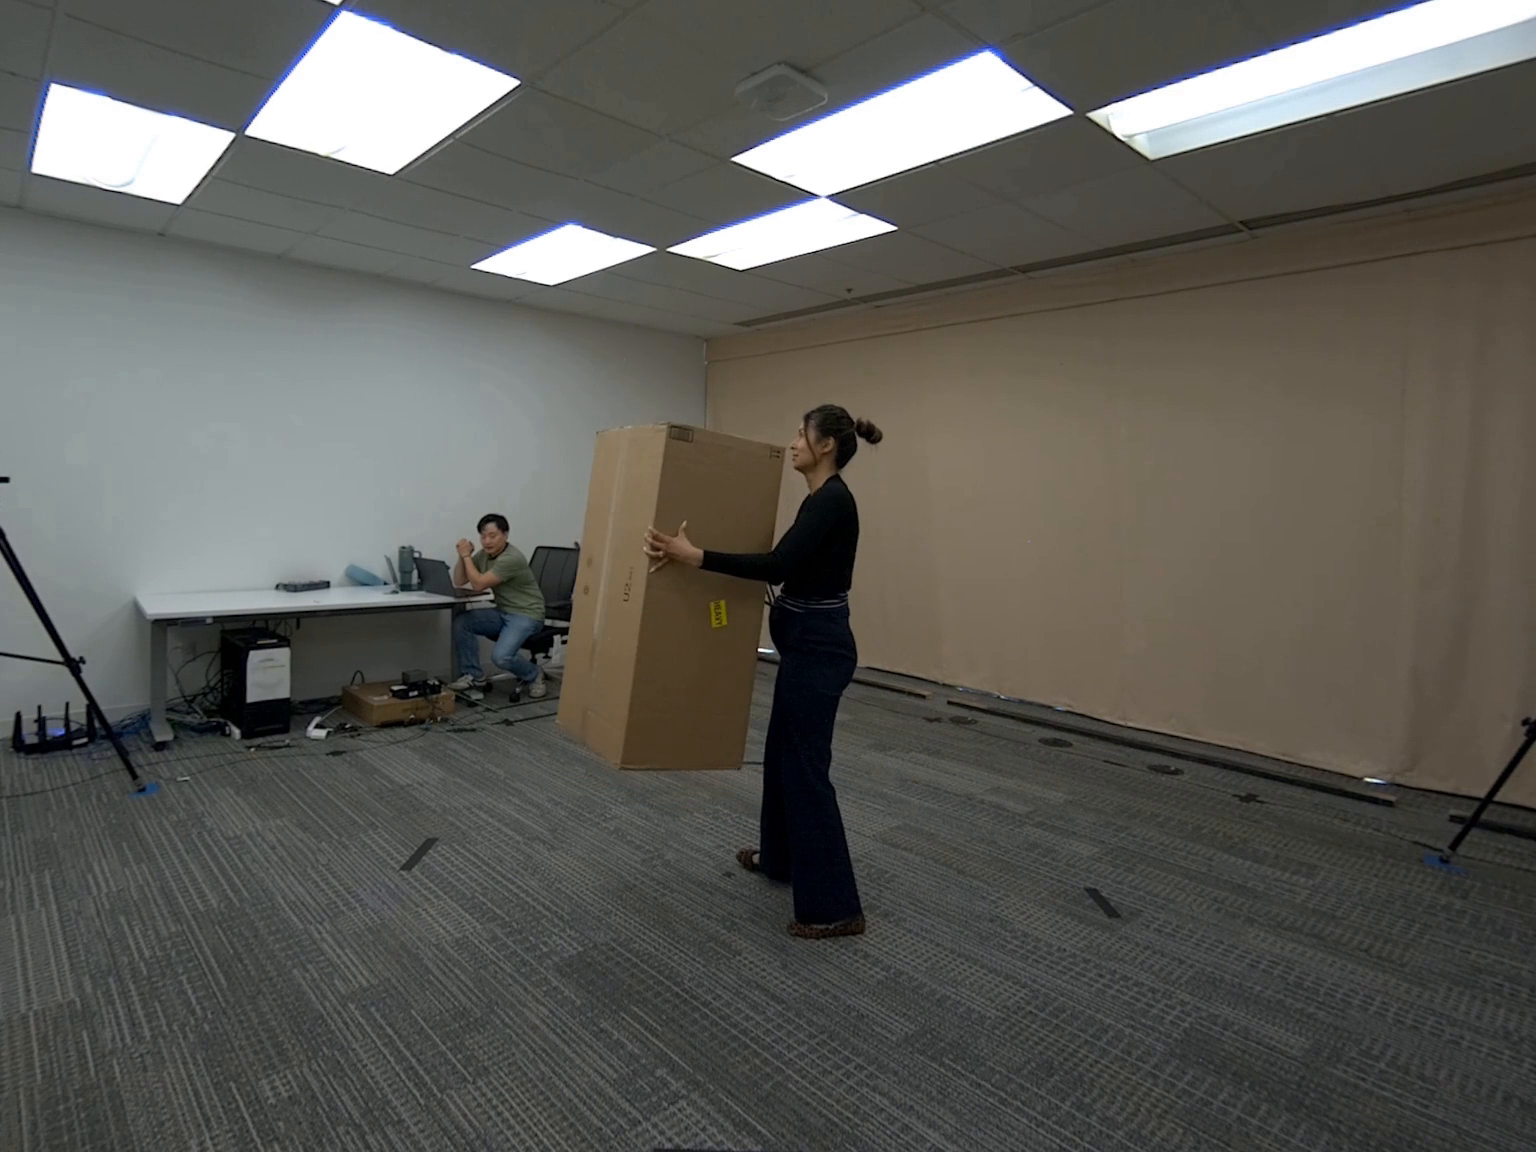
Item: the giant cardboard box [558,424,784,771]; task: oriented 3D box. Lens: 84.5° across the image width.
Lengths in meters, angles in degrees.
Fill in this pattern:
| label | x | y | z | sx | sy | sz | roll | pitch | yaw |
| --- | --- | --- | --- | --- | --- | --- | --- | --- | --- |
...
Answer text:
| label | x | y | z | sx | sy | sz | roll | pitch | yaw |
| --- | --- | --- | --- | --- | --- | --- | --- | --- | --- |
| giant cardboard box | -0.344 | 0.055 | 2.786 | 0.416 | 1.026 | 0.591 | 8 | 0 | -32 |
